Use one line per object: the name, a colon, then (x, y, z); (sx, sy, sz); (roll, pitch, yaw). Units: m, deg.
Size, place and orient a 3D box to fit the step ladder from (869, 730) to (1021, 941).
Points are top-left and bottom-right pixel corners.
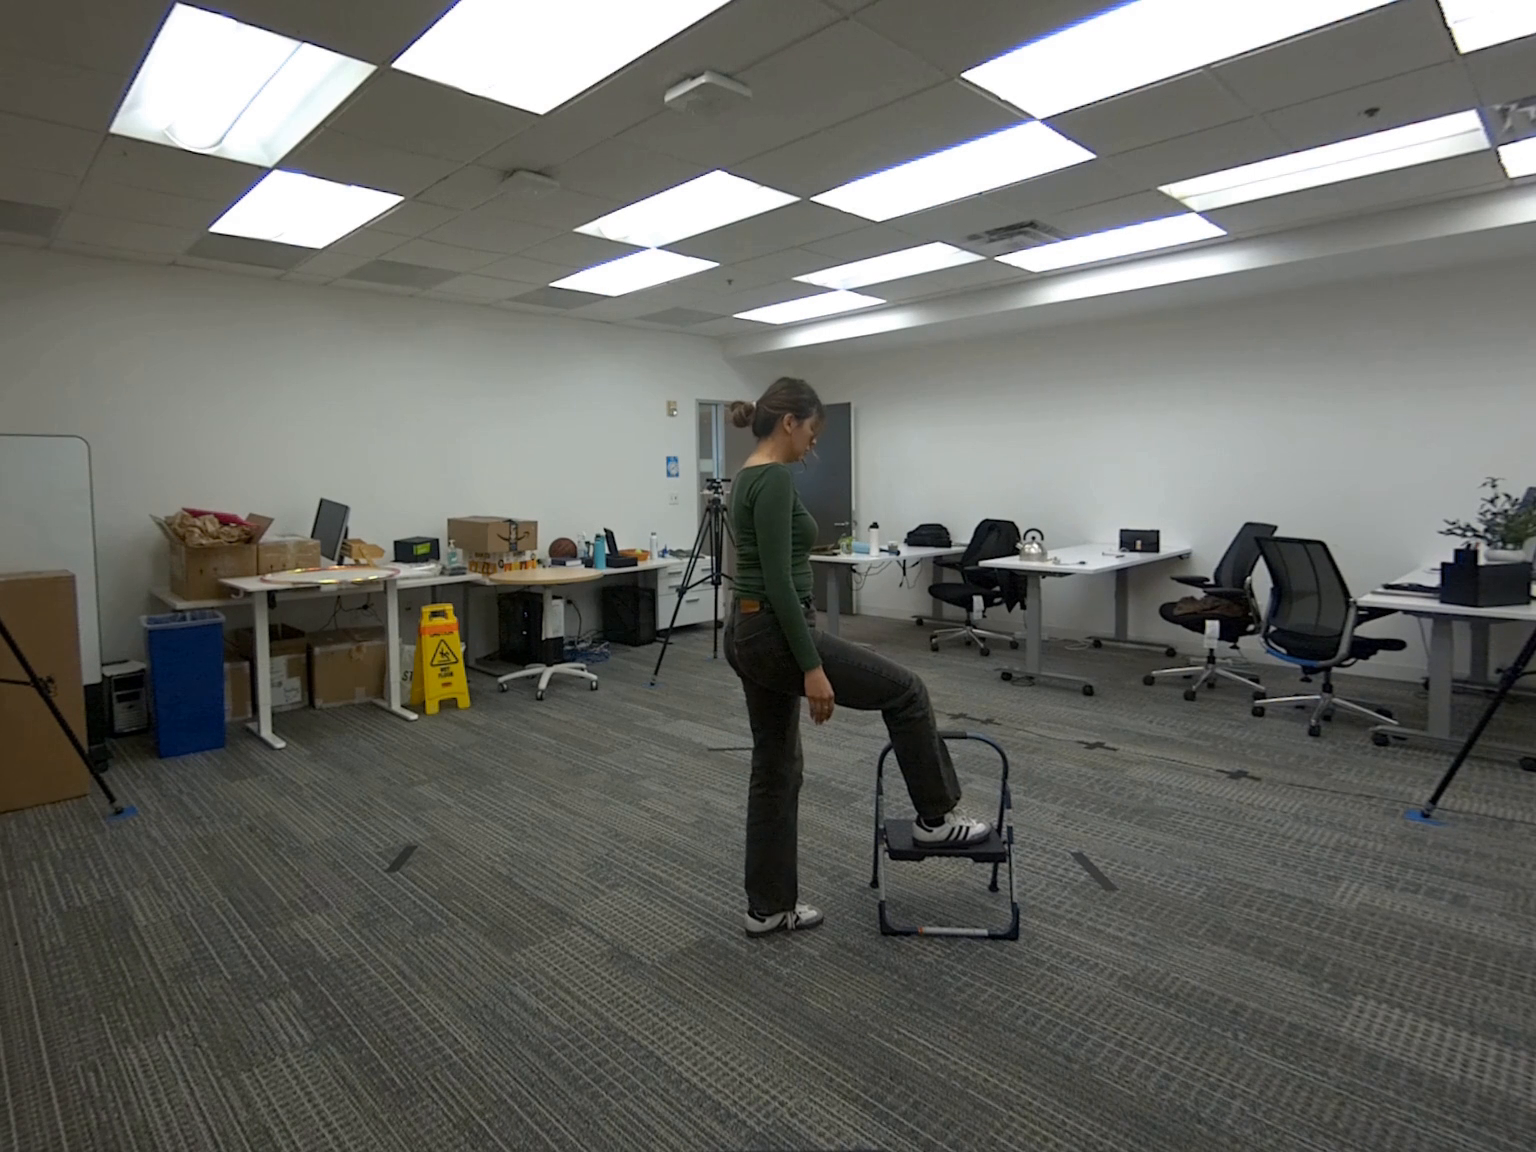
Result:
step ladder: (0.557, 0.778, 2.731); (0.433, 0.604, 0.349); (0, 3, 4)
